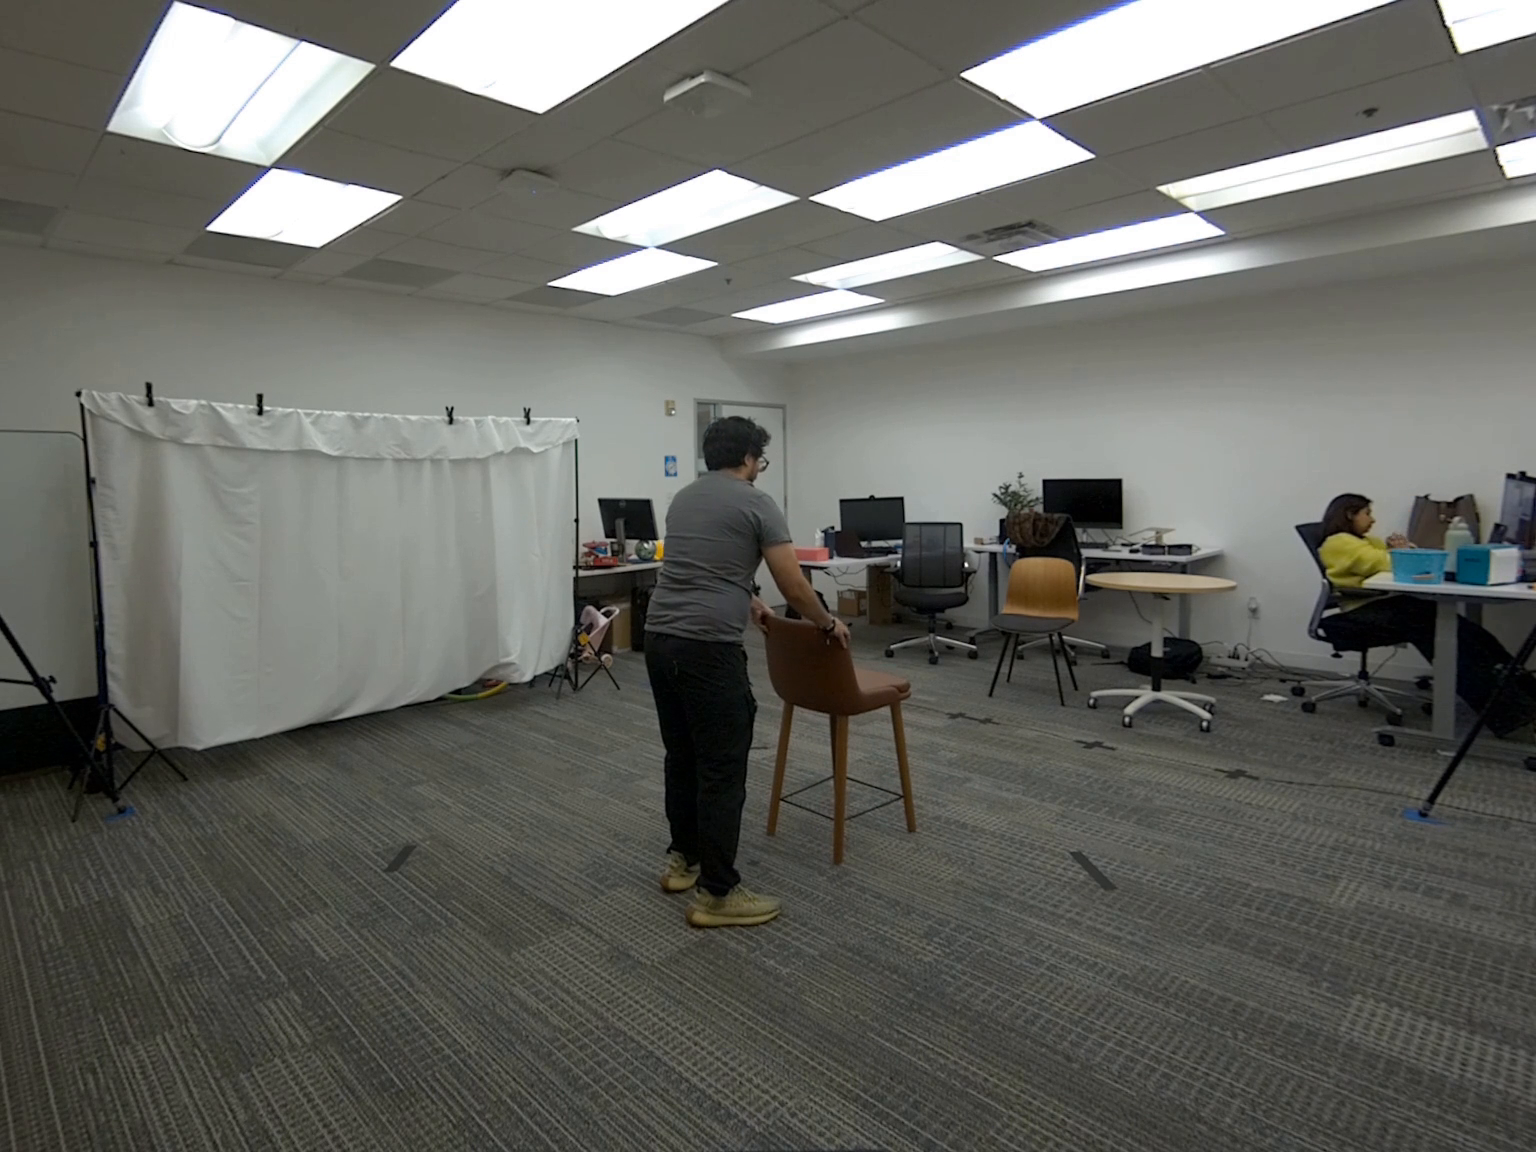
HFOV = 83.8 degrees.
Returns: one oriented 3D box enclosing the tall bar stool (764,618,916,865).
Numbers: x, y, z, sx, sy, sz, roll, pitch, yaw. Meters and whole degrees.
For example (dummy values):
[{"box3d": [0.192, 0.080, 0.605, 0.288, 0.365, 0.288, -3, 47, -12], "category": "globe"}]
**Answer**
[{"box3d": [0.271, 0.574, 3.328, 0.456, 0.885, 0.471, -7, 8, -42], "category": "tall bar stool"}]
